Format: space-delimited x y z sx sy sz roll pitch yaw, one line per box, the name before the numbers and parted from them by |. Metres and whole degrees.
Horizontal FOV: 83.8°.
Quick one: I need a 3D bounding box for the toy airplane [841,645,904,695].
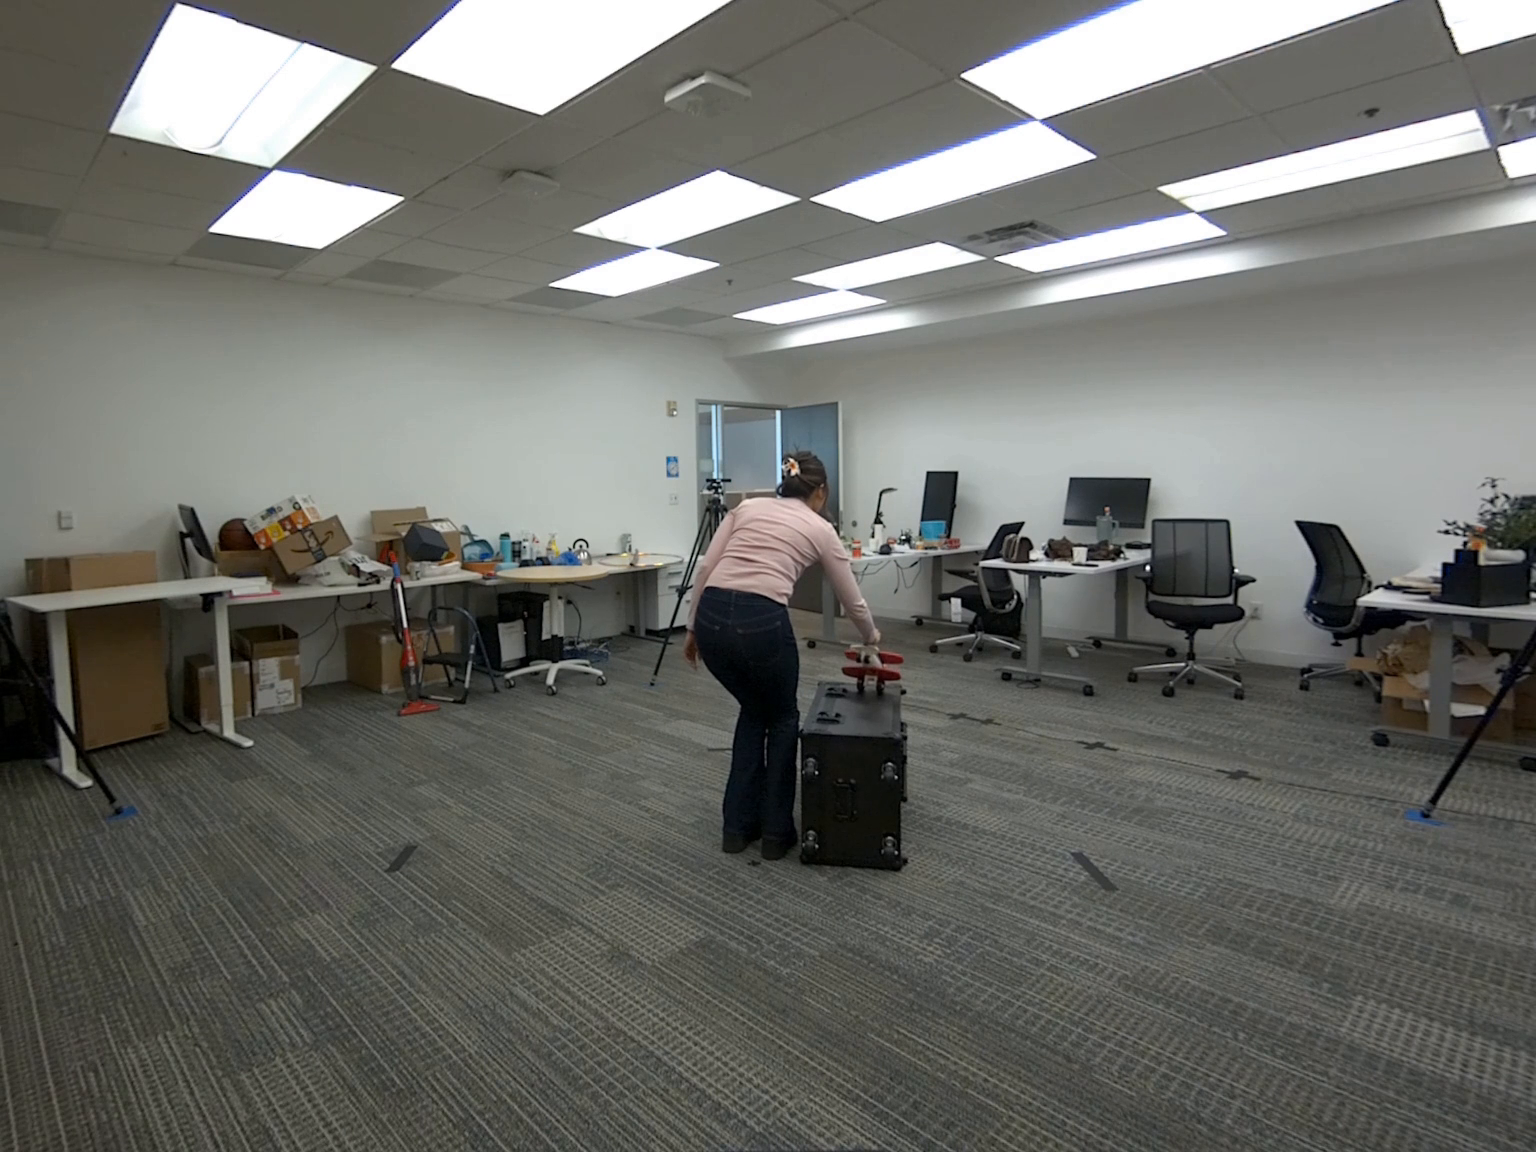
toy airplane | 0.451 0.372 3.623 0.253 0.254 0.158 22 47 4
